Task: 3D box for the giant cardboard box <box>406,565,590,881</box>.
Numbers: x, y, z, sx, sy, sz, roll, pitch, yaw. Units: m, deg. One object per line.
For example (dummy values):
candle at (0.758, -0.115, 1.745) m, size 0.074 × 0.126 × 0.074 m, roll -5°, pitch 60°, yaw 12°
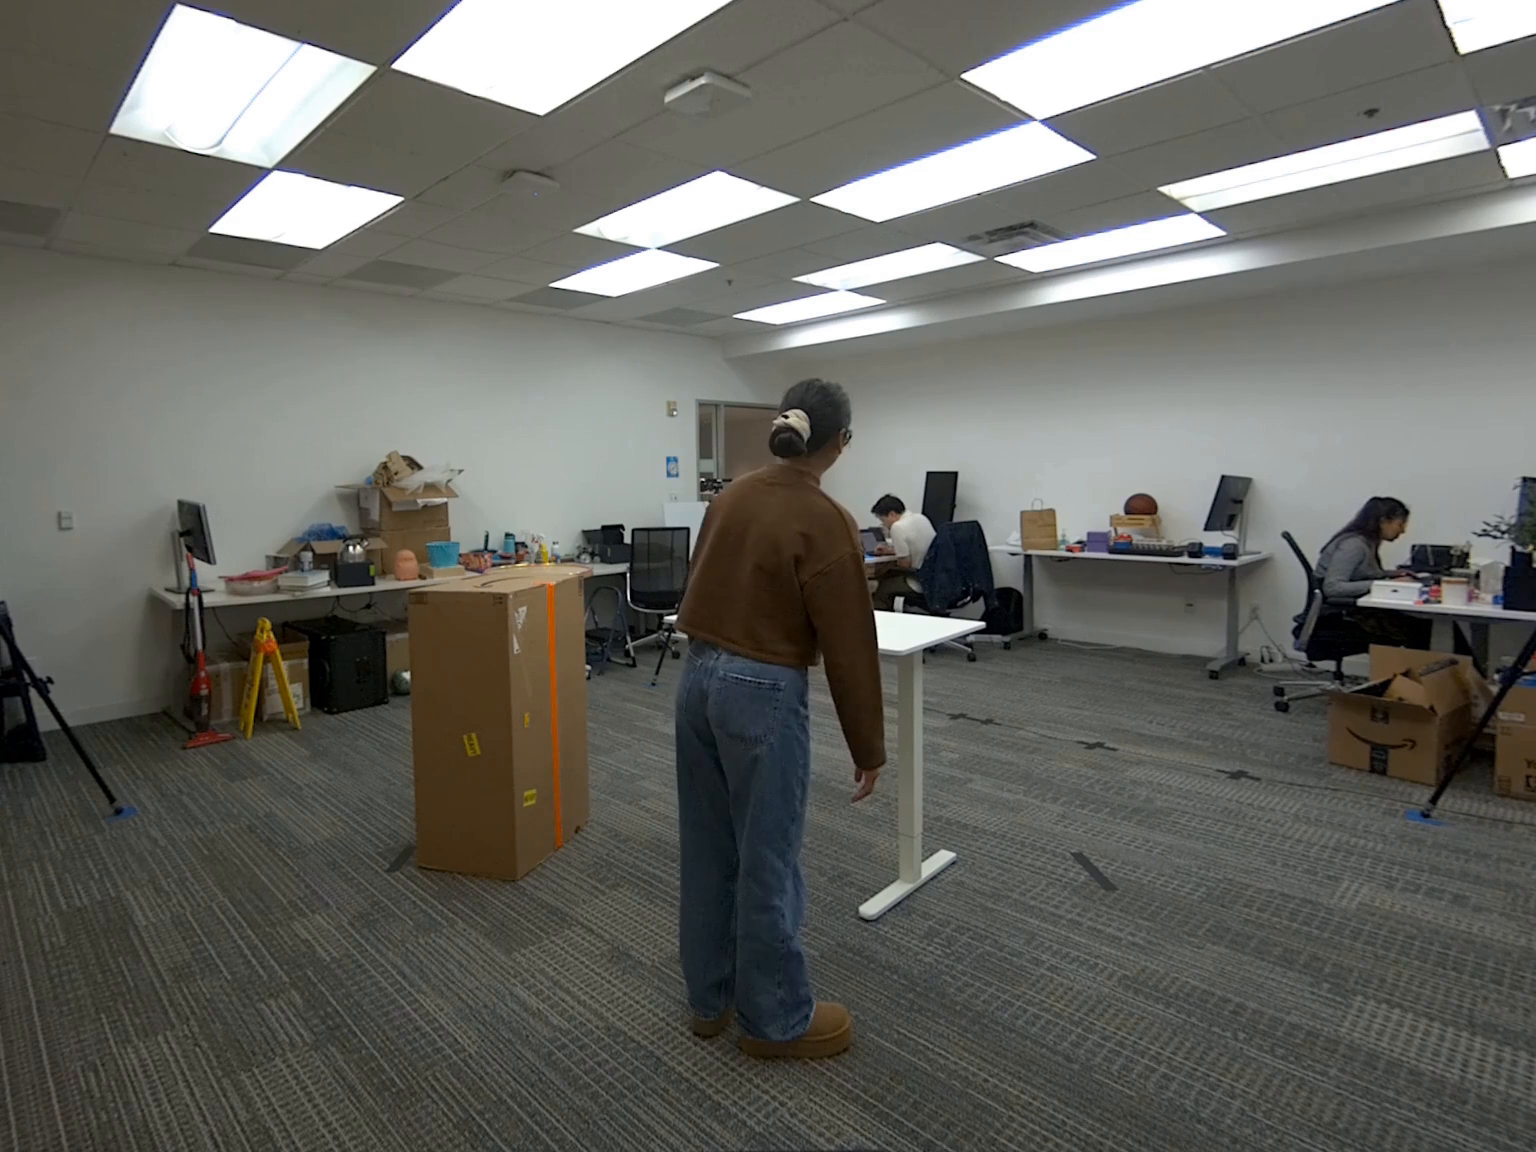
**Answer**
giant cardboard box at (-1.019, 0.532, 3.304) m, size 0.433 × 1.022 × 0.570 m, roll 0°, pitch 4°, yaw 15°
